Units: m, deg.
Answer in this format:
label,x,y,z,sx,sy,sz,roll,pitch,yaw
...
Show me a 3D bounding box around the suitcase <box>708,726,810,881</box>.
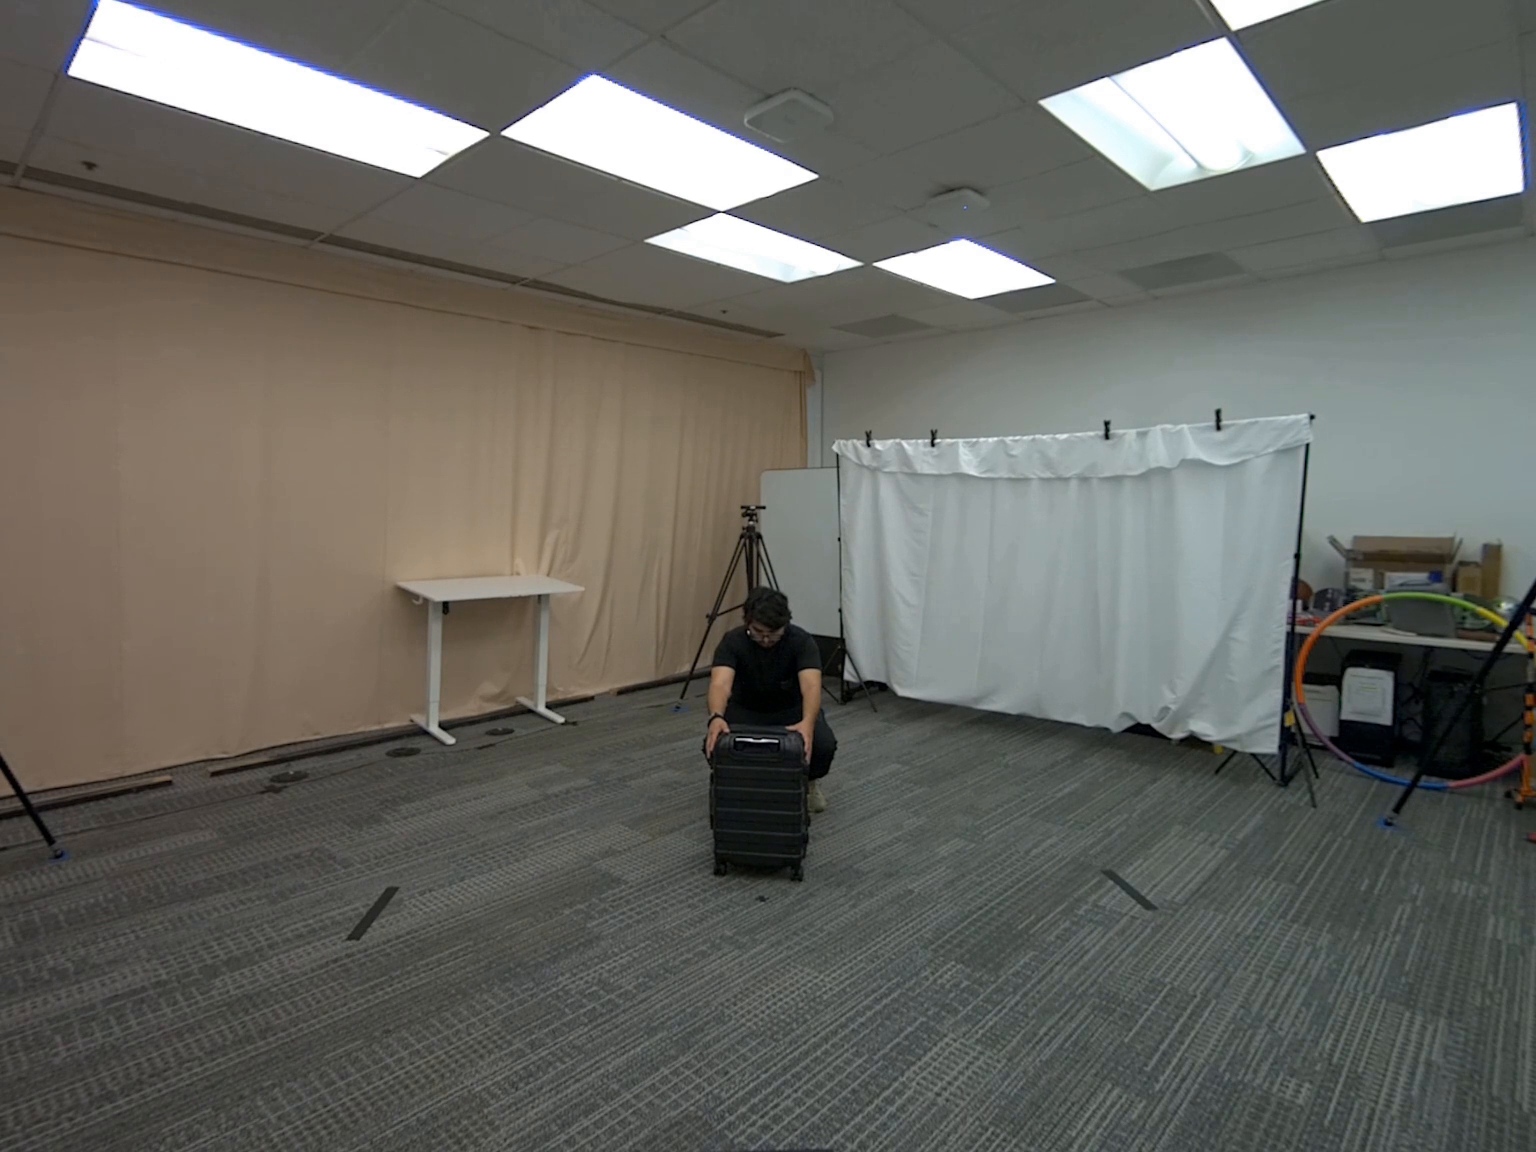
label,x,y,z,sx,sy,sz,roll,pitch,yaw
suitcase,-0.031,0.844,3.229,0.379,0.547,0.247,0,6,8
